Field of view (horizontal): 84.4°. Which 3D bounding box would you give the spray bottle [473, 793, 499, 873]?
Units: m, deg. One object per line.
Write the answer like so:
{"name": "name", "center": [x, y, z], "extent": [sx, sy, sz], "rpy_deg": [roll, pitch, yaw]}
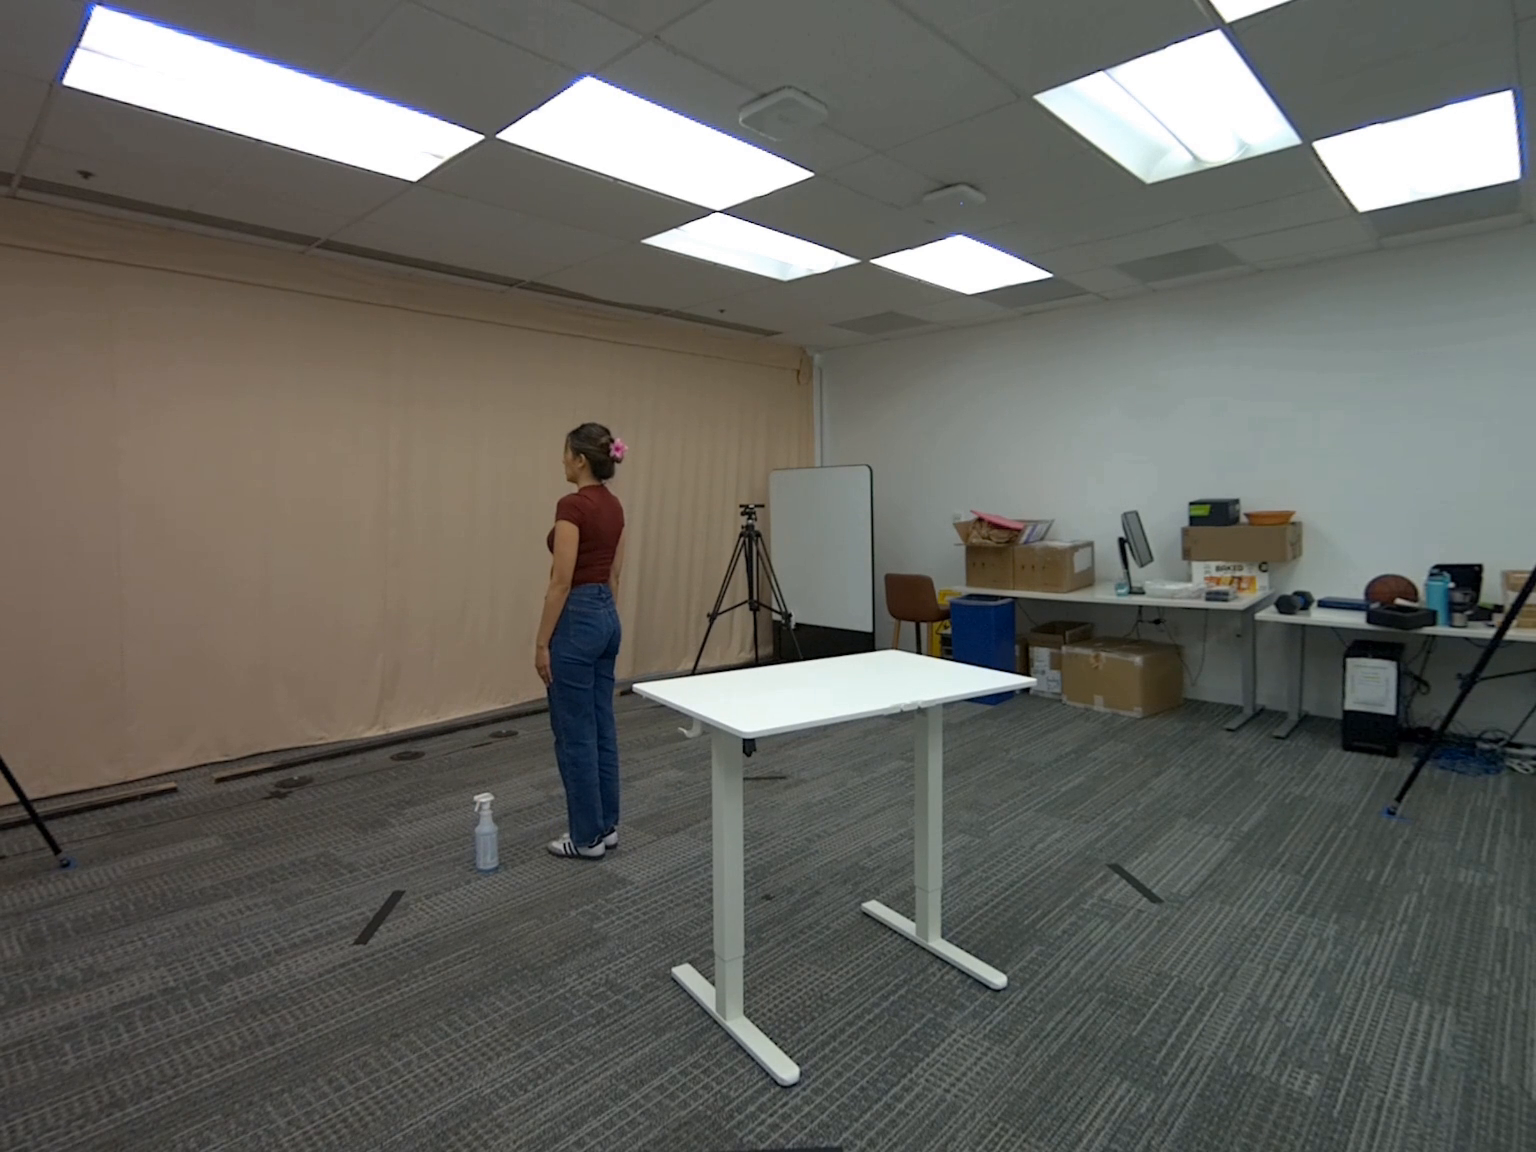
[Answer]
{"name": "spray bottle", "center": [-1.095, 0.995, 3.274], "extent": [0.088, 0.297, 0.089], "rpy_deg": [-3, 4, -28]}
